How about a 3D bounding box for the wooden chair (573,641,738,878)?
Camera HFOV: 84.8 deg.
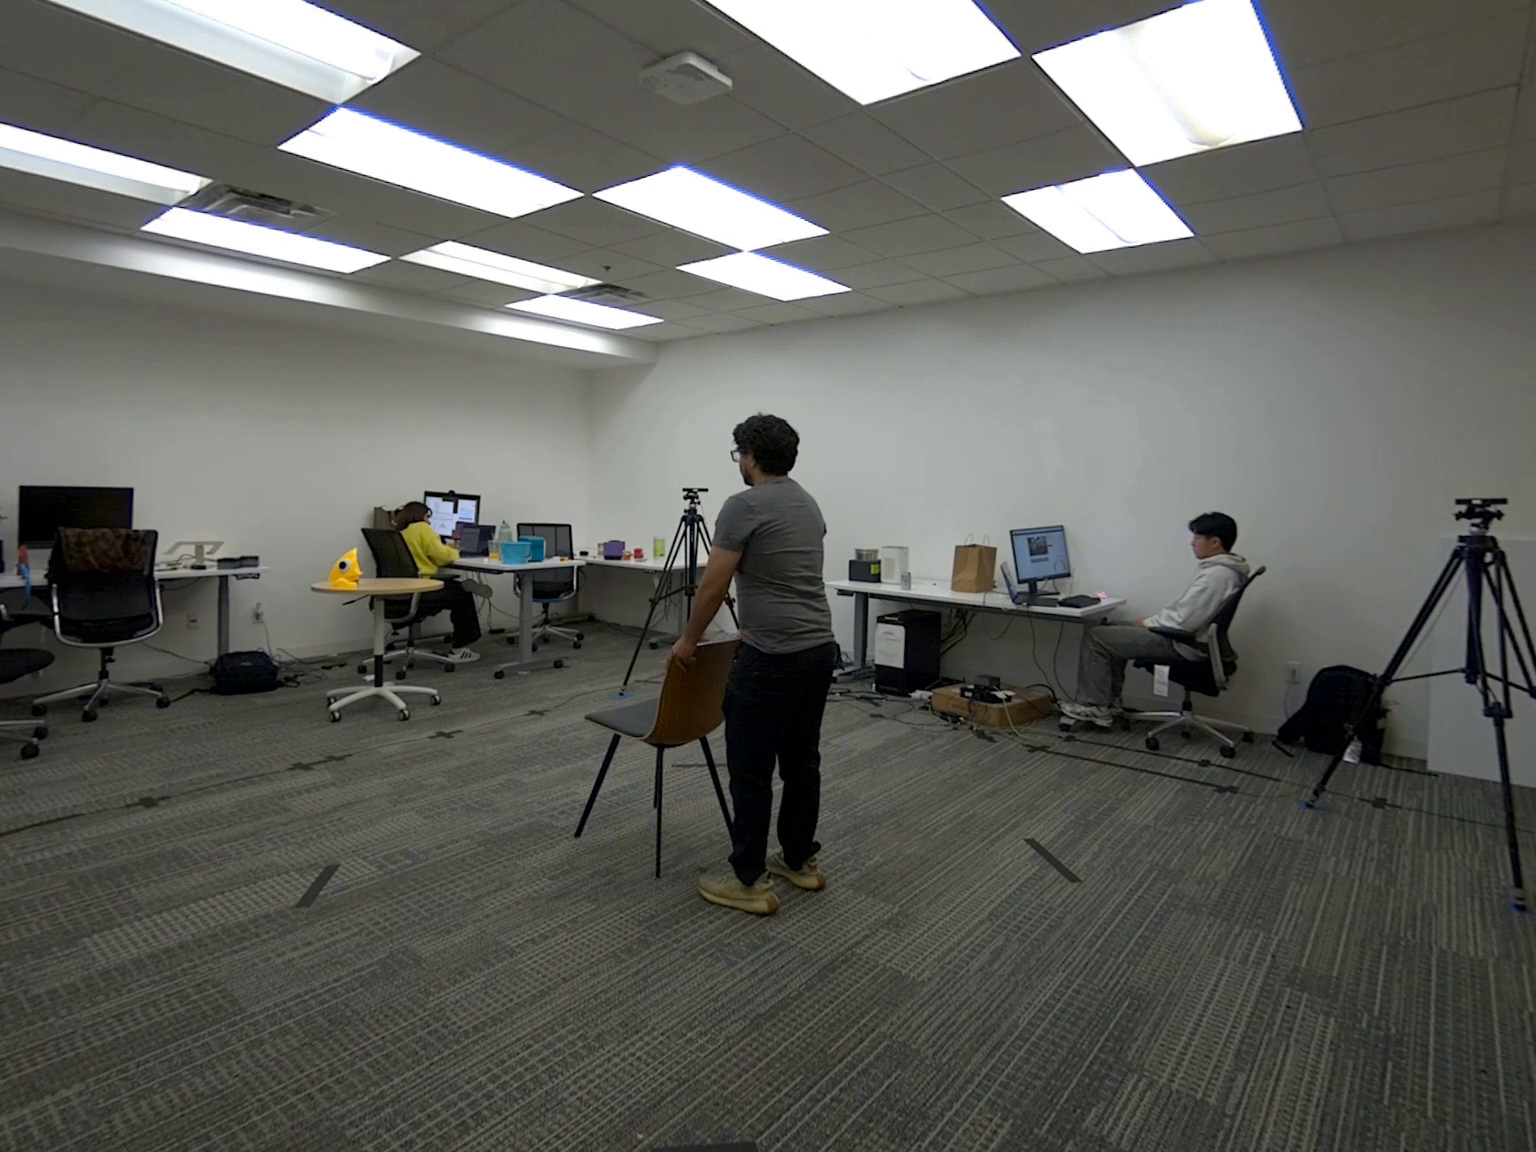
[{"bbox_3d":[-0.429,0.605,3.304,0.542,0.871,0.464,14,10,37],"label":"wooden chair"}]
